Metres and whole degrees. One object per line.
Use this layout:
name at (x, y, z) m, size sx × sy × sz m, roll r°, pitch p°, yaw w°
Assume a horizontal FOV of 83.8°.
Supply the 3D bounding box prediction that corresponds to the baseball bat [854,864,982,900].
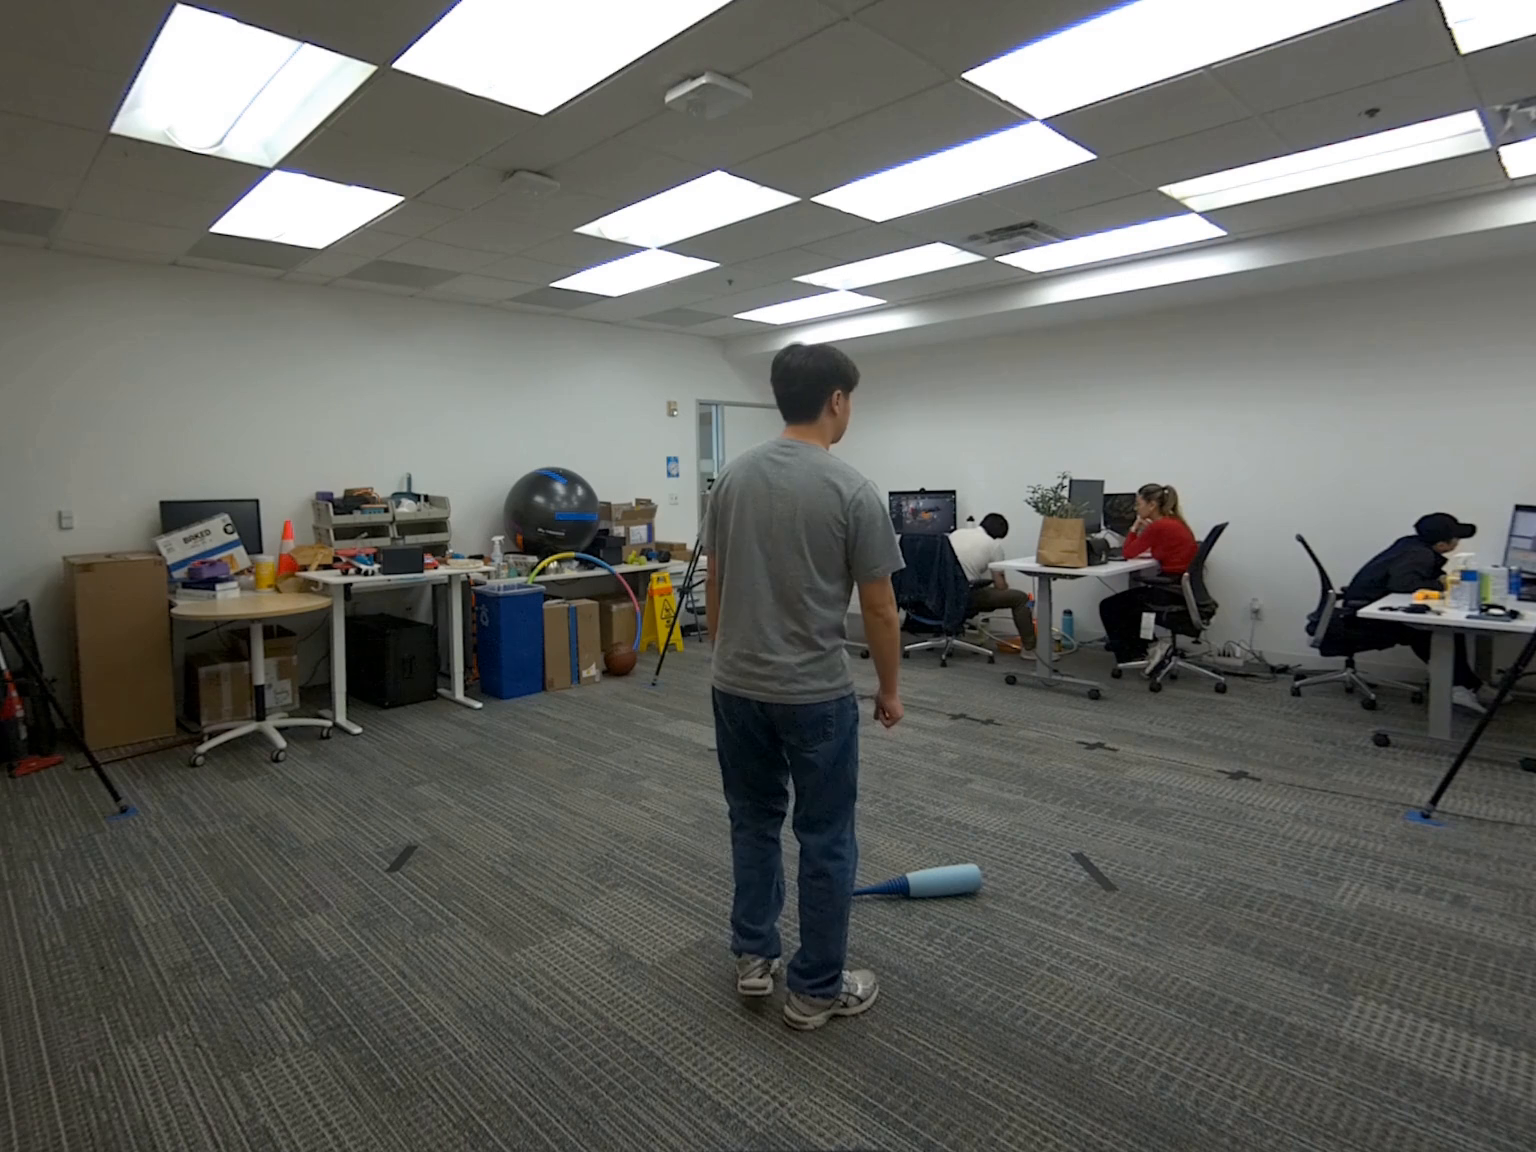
baseball bat at (0.446, 1.033, 2.834) m, size 0.541 × 0.089 × 0.090 m, roll -5°, pitch 5°, yaw -4°
